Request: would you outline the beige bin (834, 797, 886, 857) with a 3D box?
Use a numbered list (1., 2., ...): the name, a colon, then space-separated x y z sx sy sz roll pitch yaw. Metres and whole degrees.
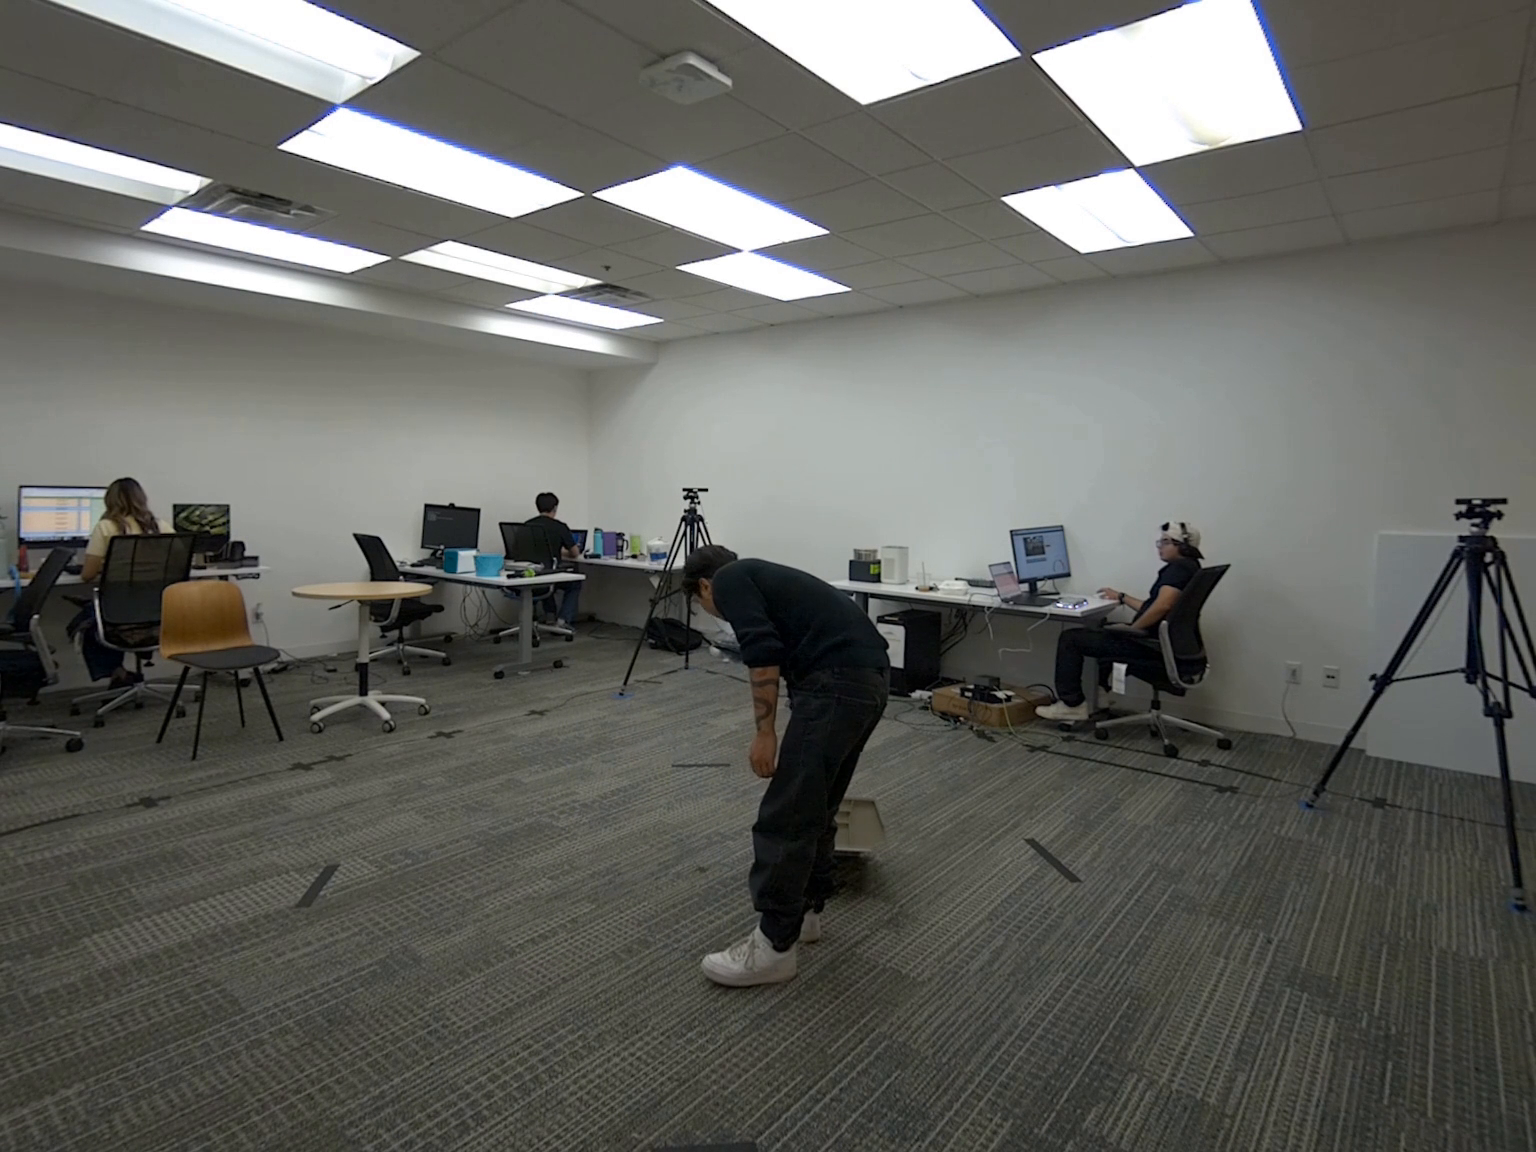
1. beige bin: 0.206 0.903 3.105 0.378 0.192 0.414 0 -18 0
